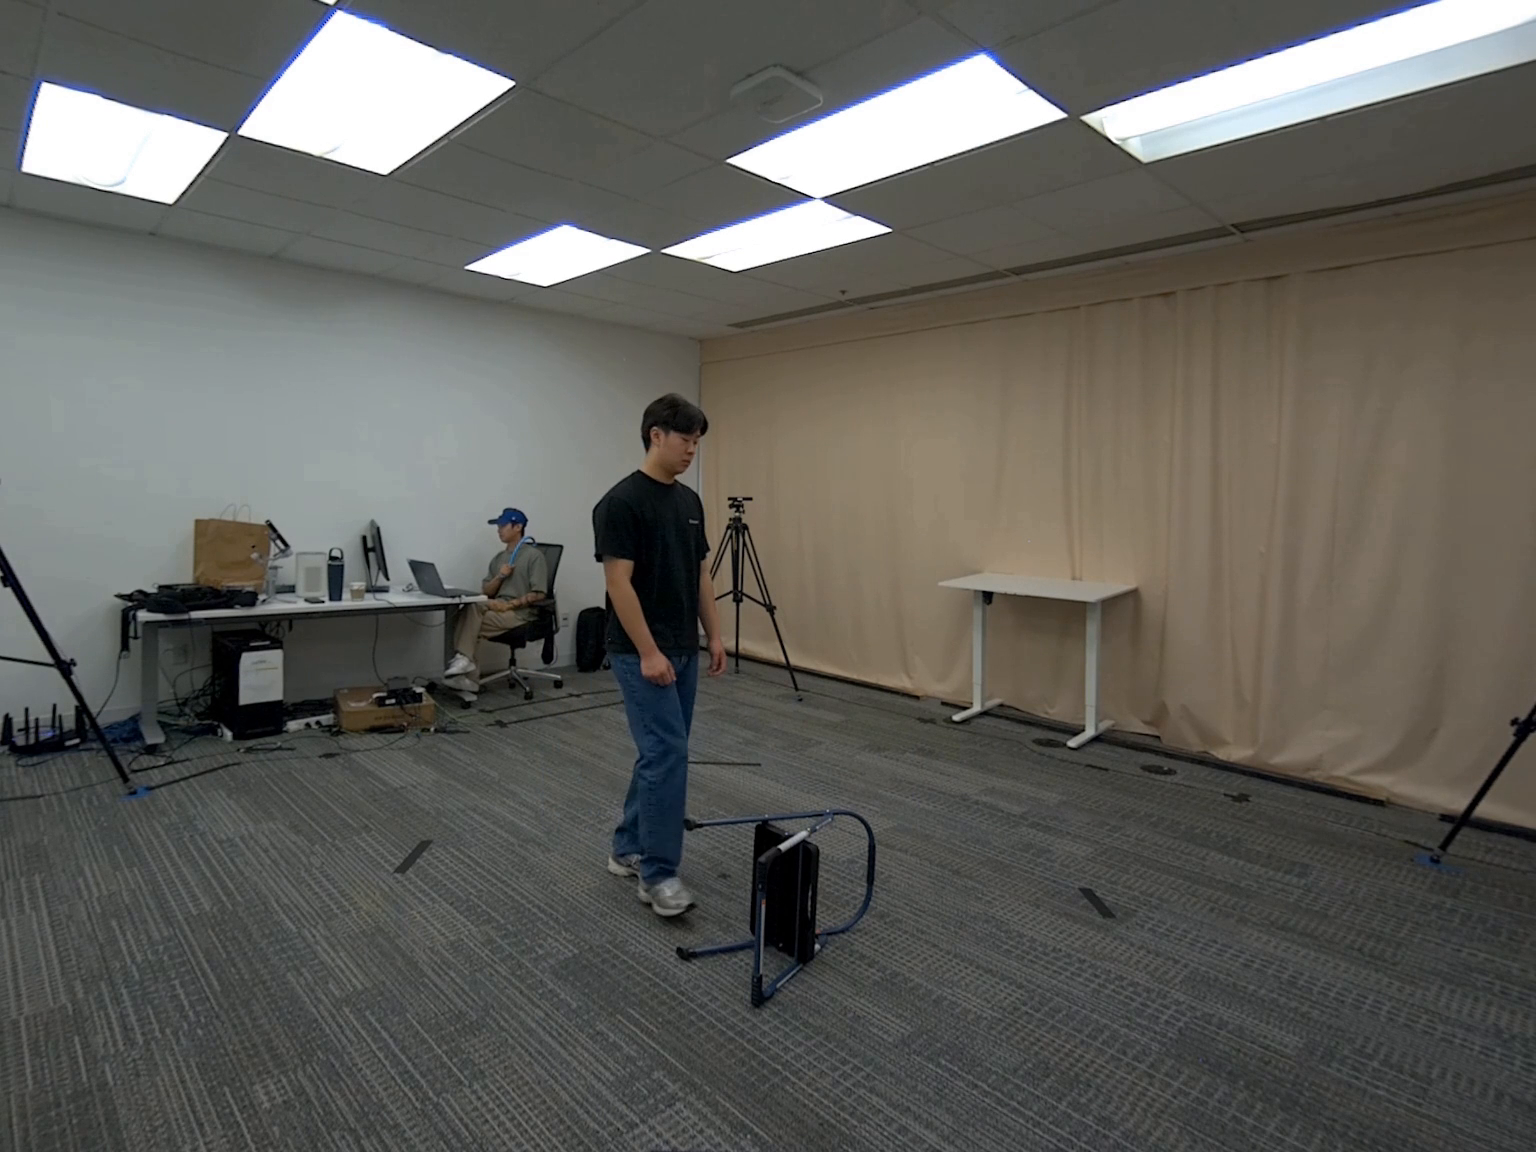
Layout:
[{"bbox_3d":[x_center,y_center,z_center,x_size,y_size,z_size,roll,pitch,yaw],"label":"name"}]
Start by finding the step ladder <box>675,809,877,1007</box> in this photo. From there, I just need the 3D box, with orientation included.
[{"bbox_3d":[0.067,0.948,2.601,0.592,0.429,0.358,-2,7,-43],"label":"step ladder"}]
